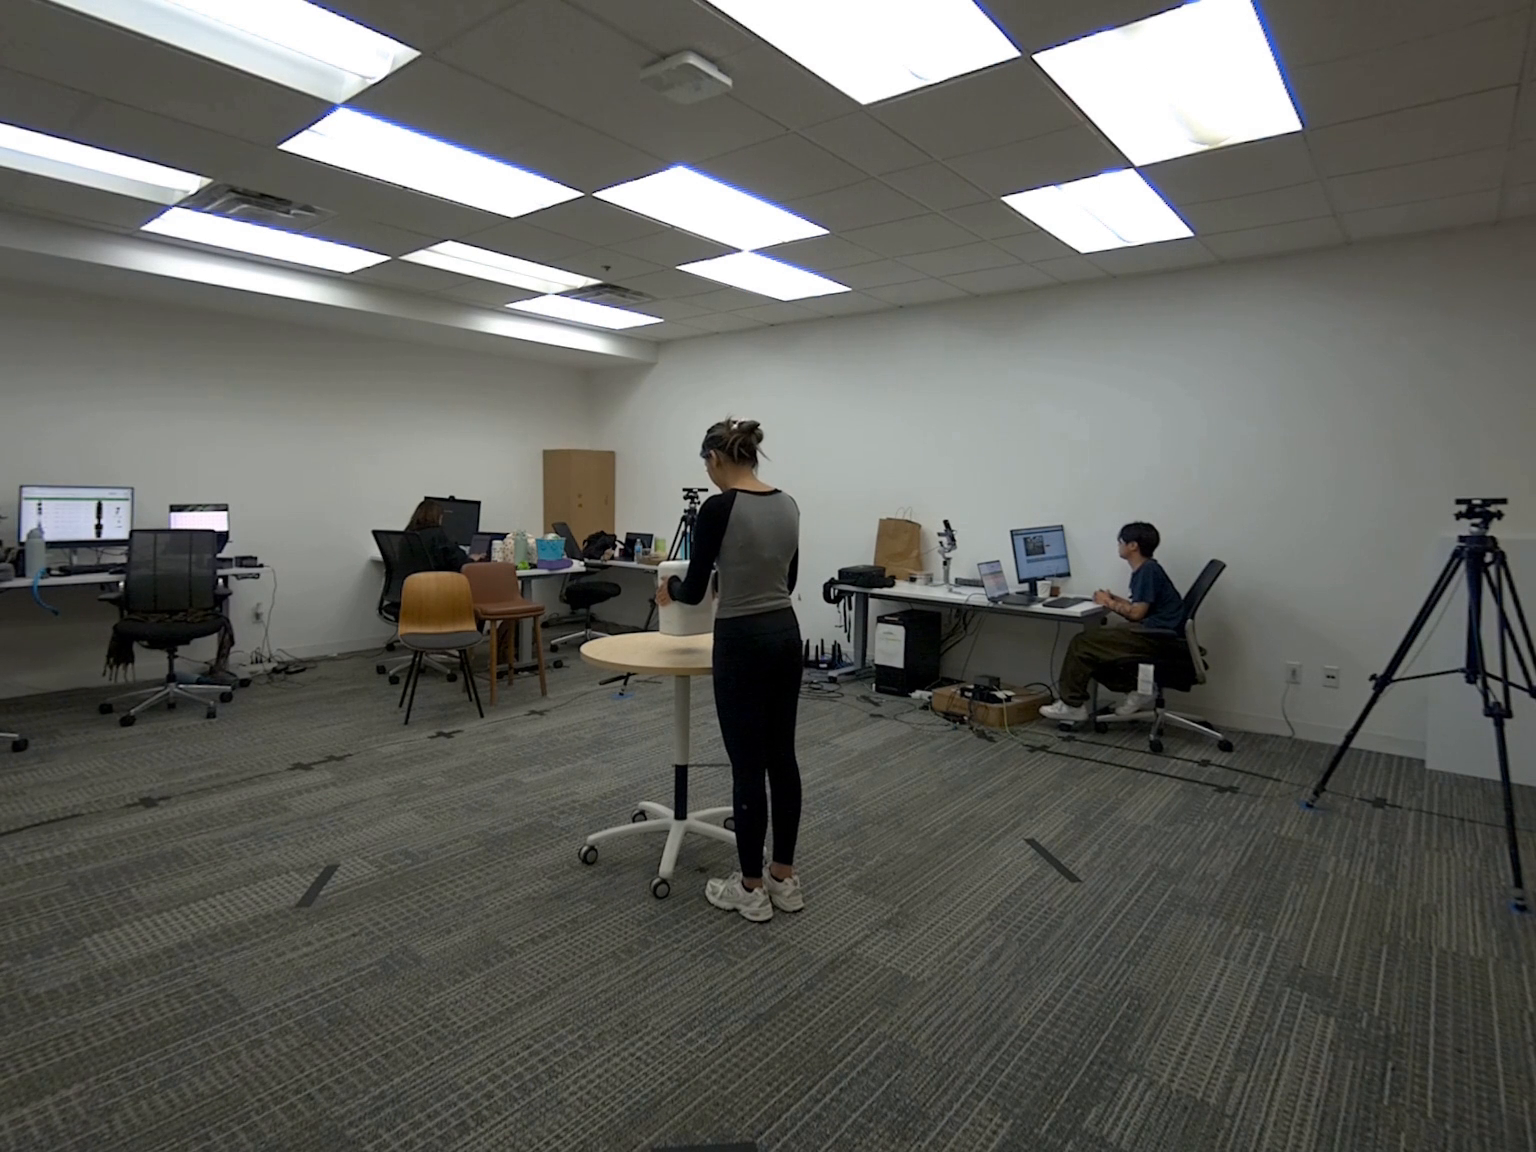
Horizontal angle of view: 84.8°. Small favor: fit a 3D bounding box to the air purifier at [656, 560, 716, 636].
[{"bbox_3d":[-0.316,0.075,3.128,0.176,0.265,0.166,-1,2,45],"label":"air purifier"}]
